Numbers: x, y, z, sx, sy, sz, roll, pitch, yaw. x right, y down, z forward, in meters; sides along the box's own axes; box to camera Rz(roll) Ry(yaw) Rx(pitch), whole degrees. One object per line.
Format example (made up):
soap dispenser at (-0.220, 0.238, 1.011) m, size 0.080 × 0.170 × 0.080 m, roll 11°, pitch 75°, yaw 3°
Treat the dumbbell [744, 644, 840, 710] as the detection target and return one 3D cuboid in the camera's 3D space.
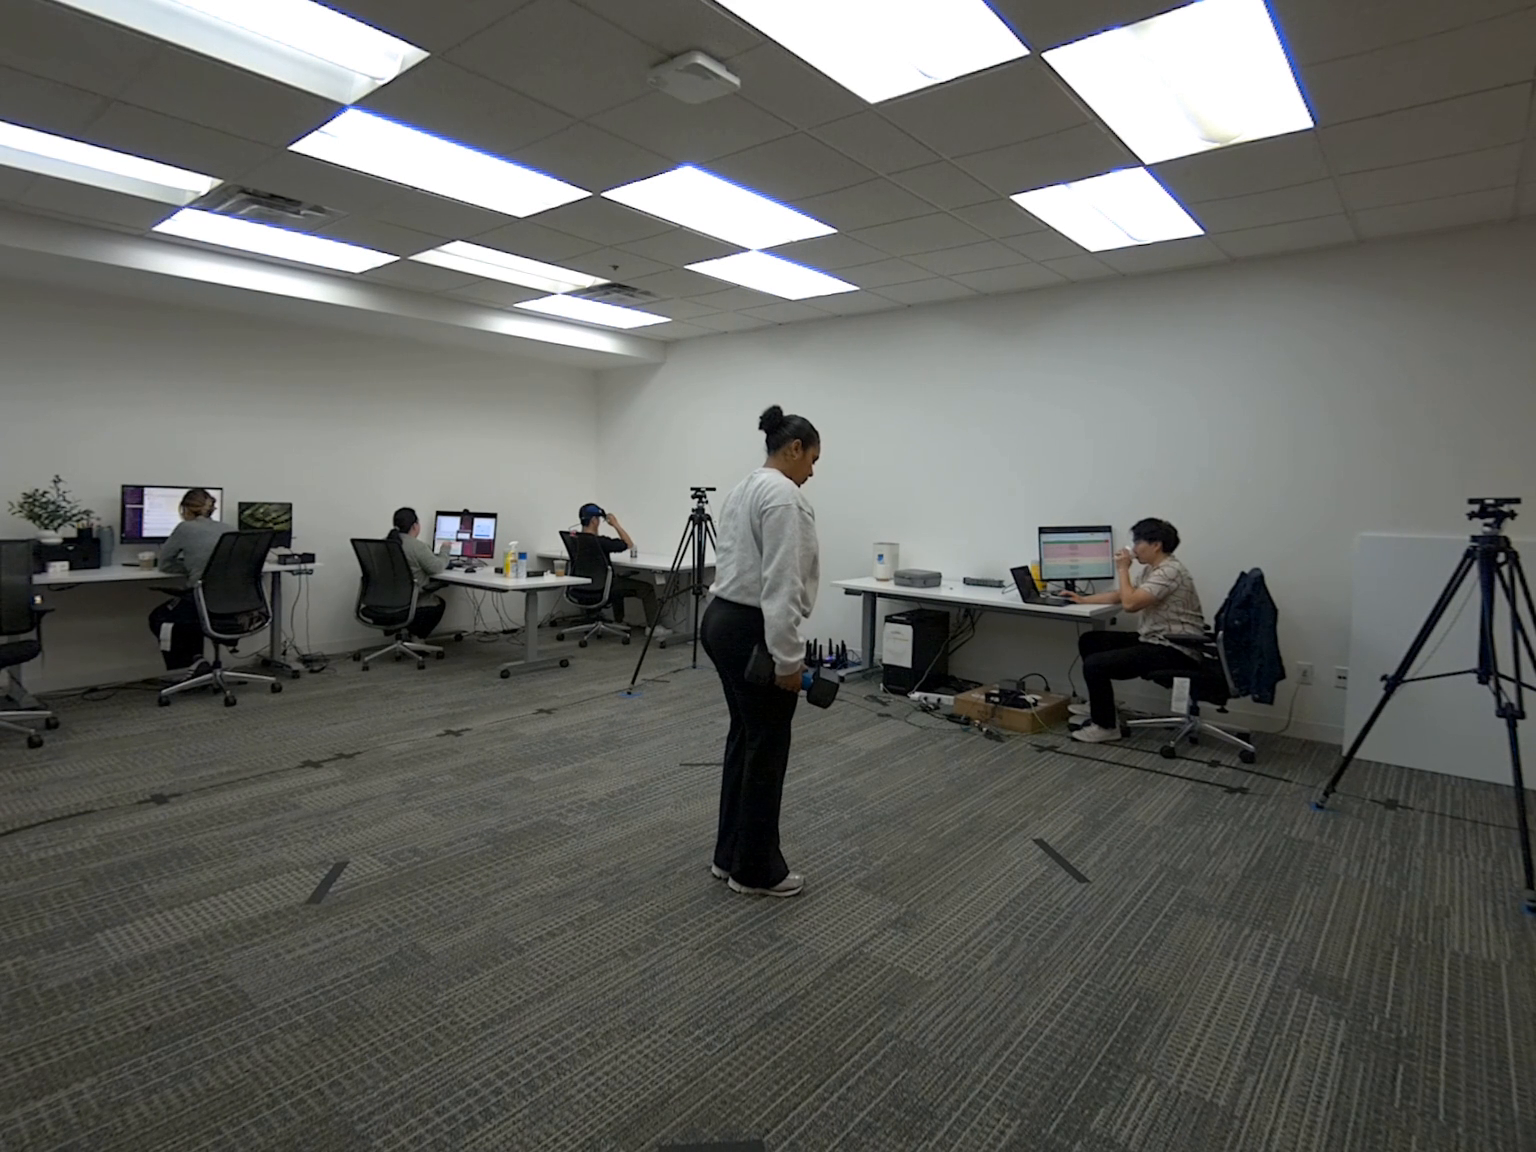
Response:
dumbbell at (0.067, 0.320, 2.709) m, size 0.294 × 0.123 × 0.108 m, roll 19°, pitch -4°, yaw 1°
